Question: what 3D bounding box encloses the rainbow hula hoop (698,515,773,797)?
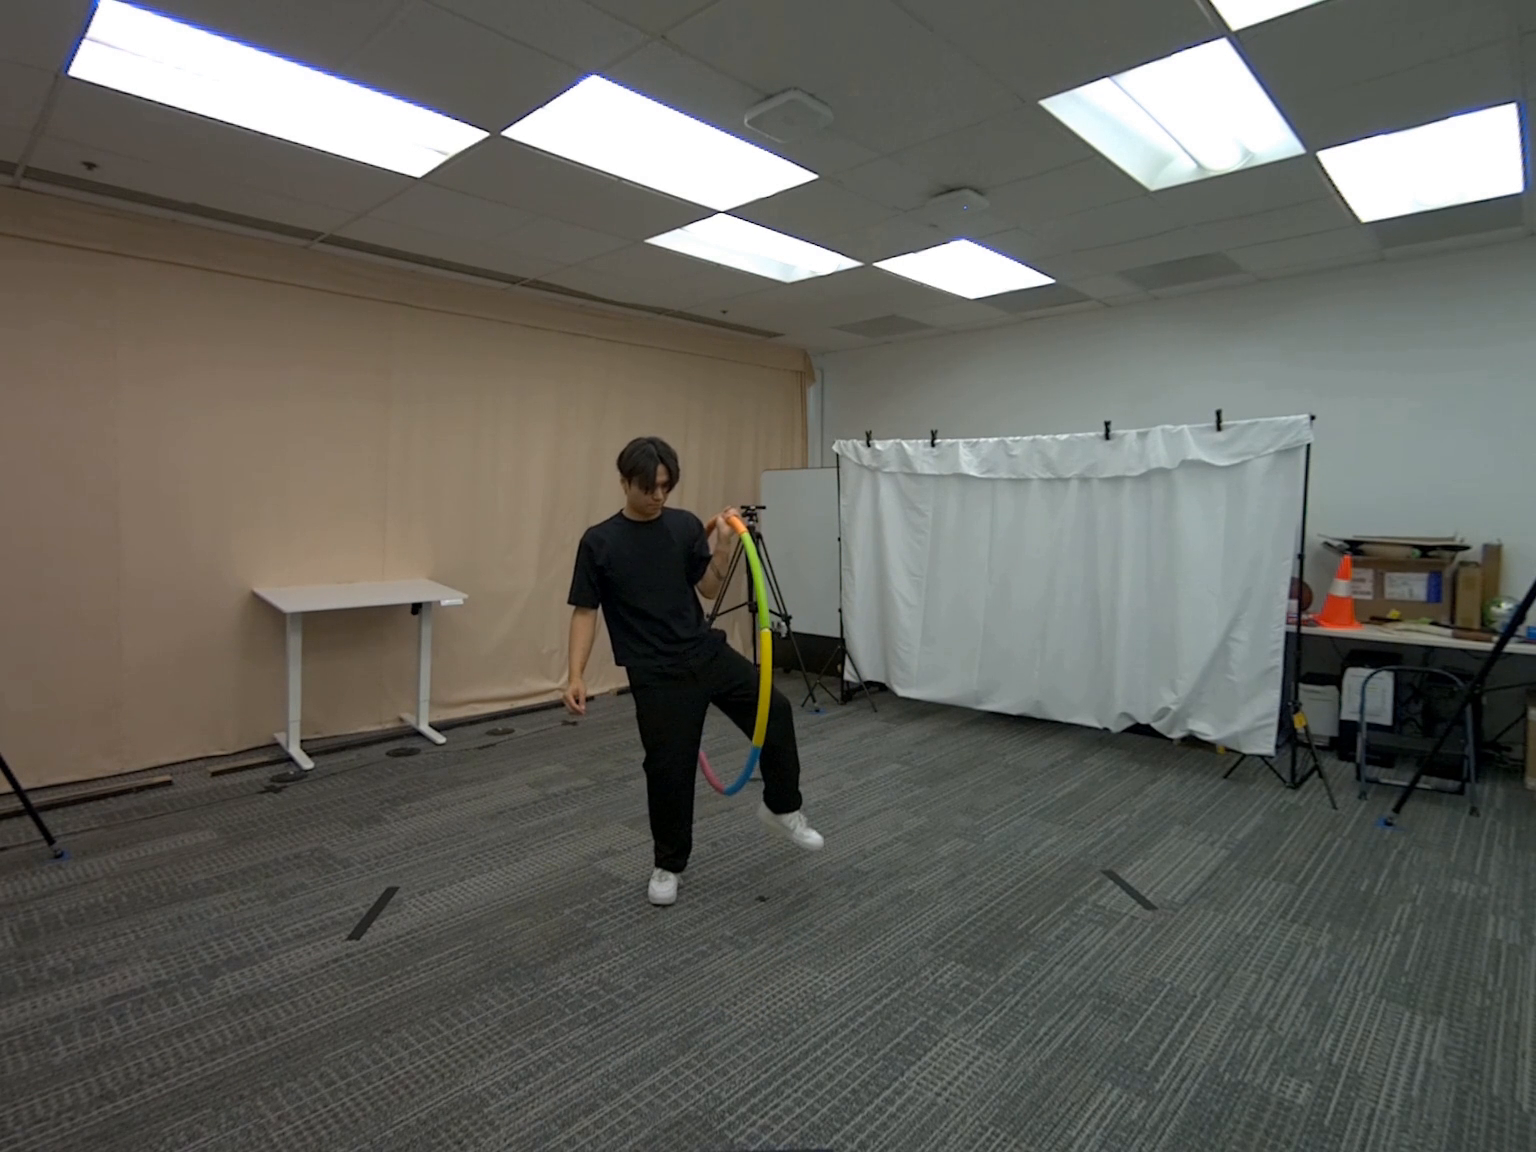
[{"bbox_3d":[-0.156,0.263,3.035,0.035,0.977,0.999,4,2,-20],"label":"rainbow hula hoop"}]
